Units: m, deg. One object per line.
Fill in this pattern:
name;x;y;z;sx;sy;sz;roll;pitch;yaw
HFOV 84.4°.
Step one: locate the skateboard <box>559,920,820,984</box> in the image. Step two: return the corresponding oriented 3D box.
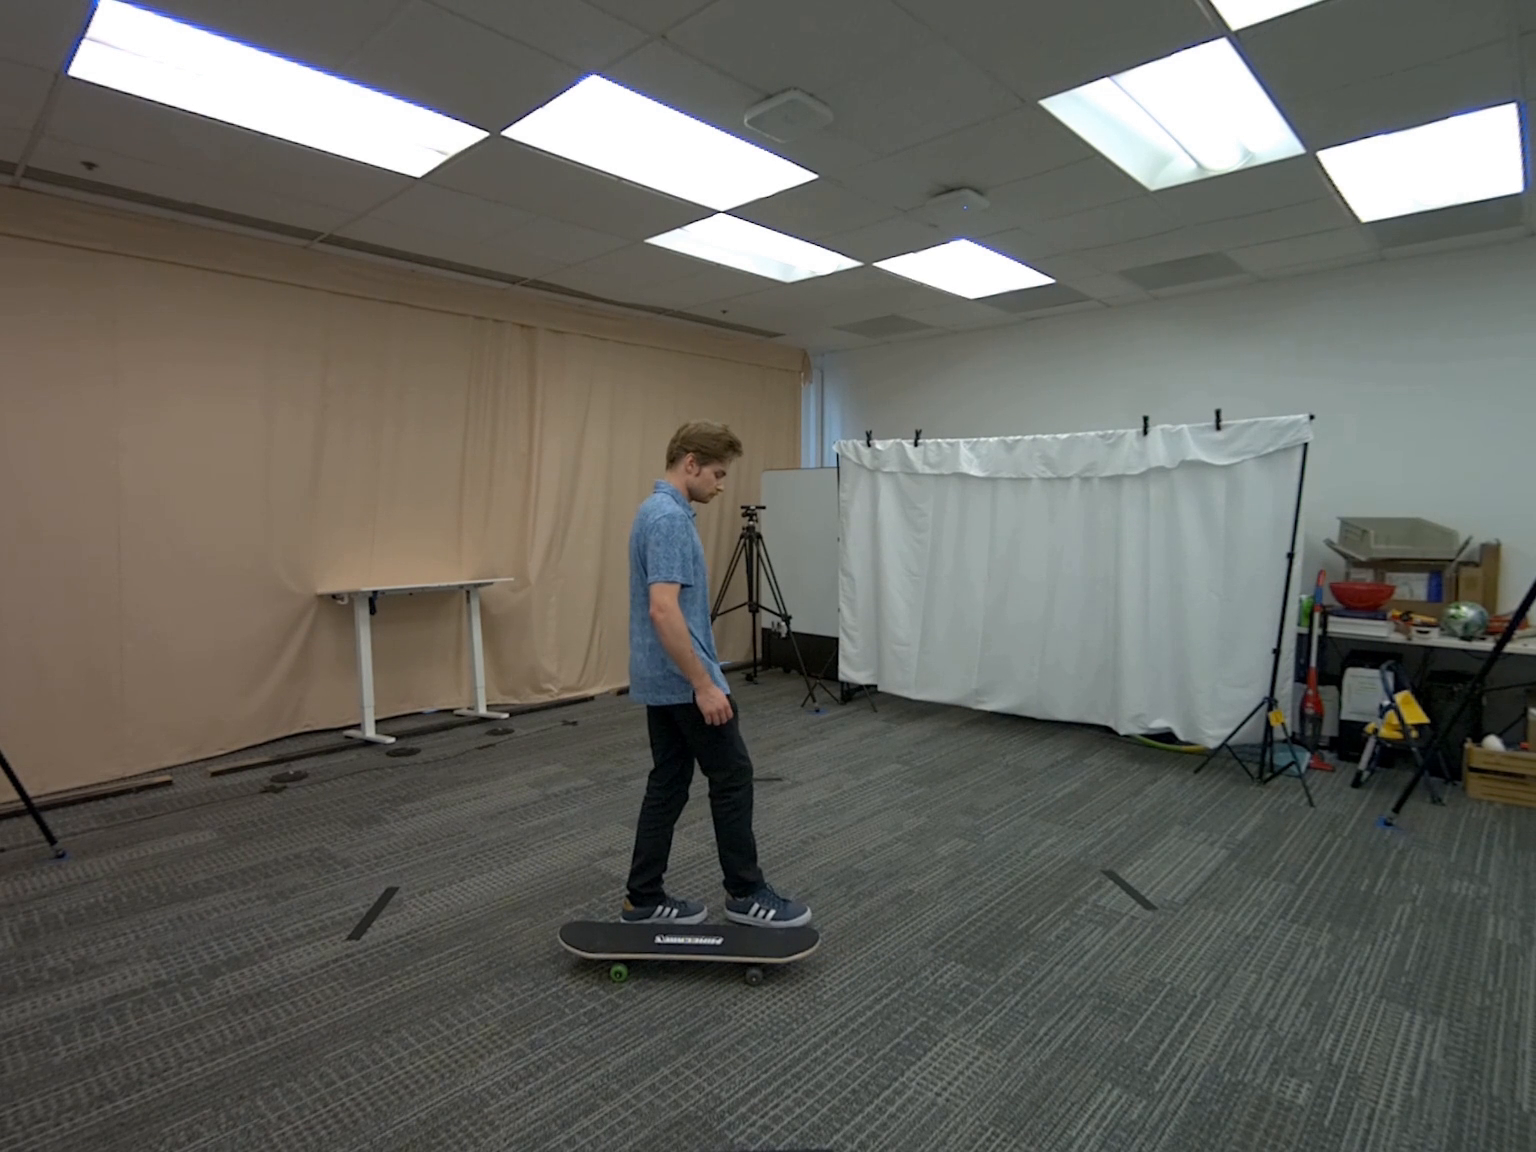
skateboard;-0.234;1.119;2.536;0.788;0.110;0.193;-1;5;3
